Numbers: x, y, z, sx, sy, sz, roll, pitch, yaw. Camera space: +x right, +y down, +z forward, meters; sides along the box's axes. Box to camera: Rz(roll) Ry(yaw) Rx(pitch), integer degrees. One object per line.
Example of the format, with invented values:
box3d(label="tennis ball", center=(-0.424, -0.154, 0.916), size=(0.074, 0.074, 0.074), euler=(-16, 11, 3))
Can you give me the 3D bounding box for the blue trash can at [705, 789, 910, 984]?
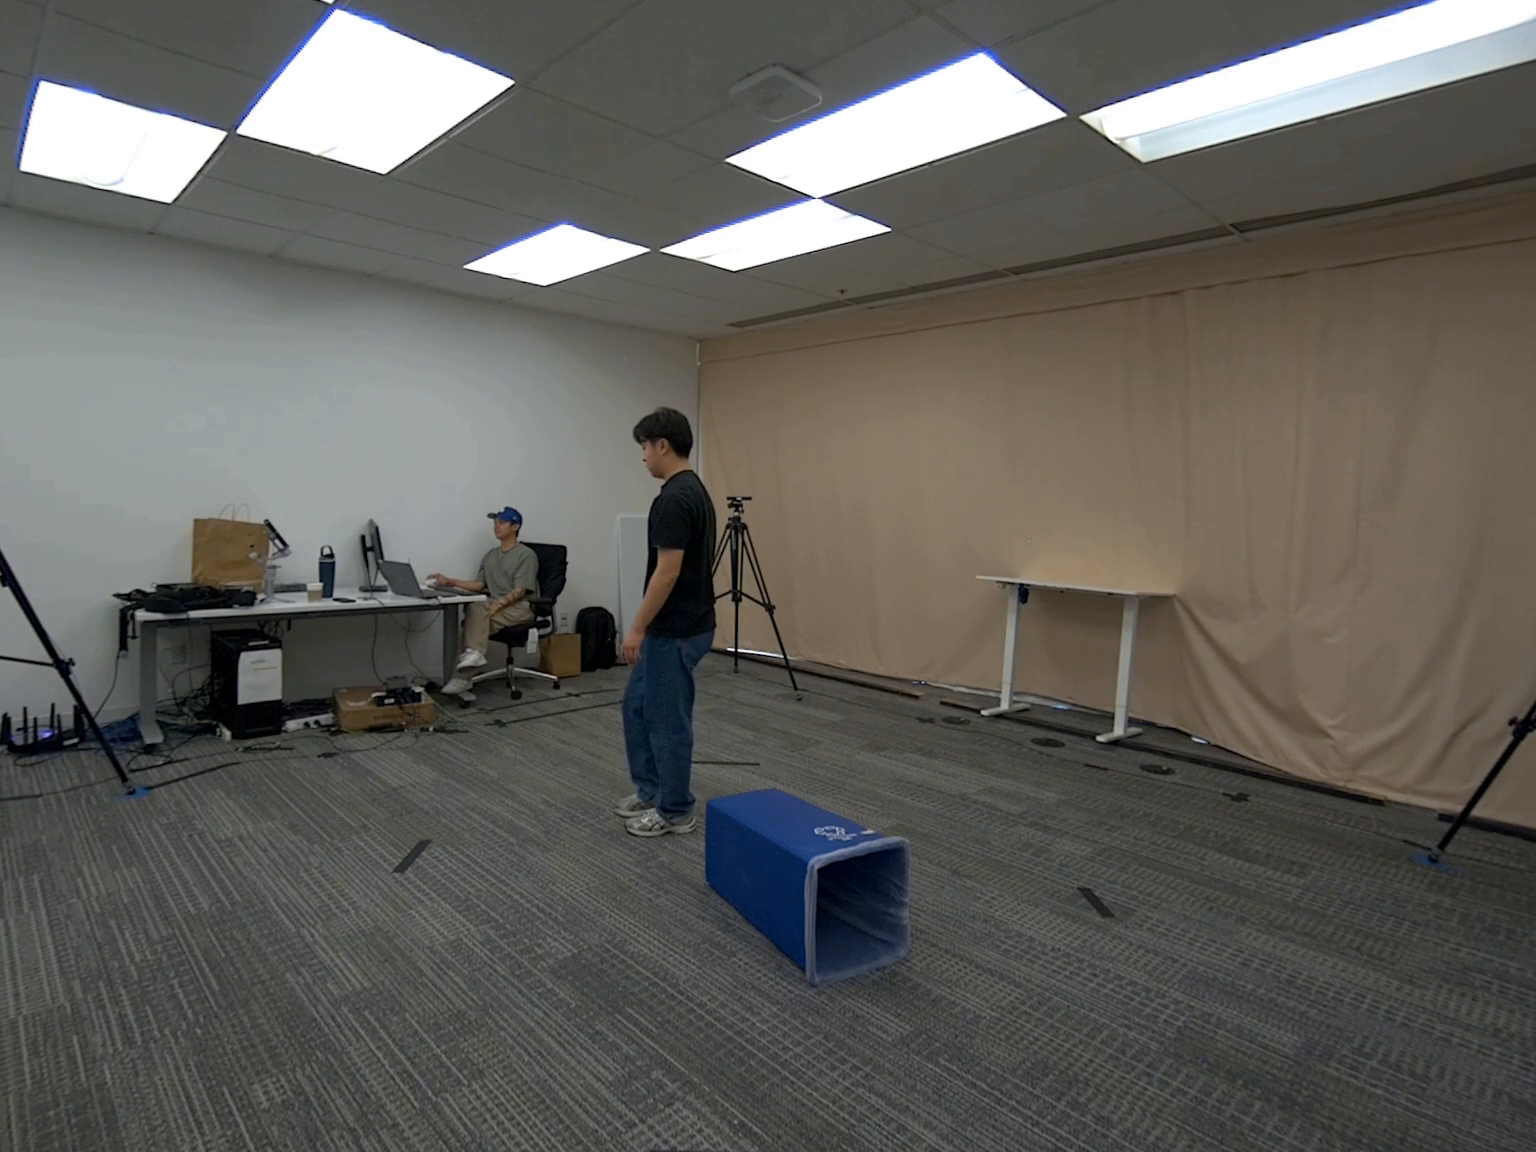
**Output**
box3d(label="blue trash can", center=(0.084, 0.976, 2.784), size=(0.366, 0.378, 0.729), euler=(-1, 2, -31))
